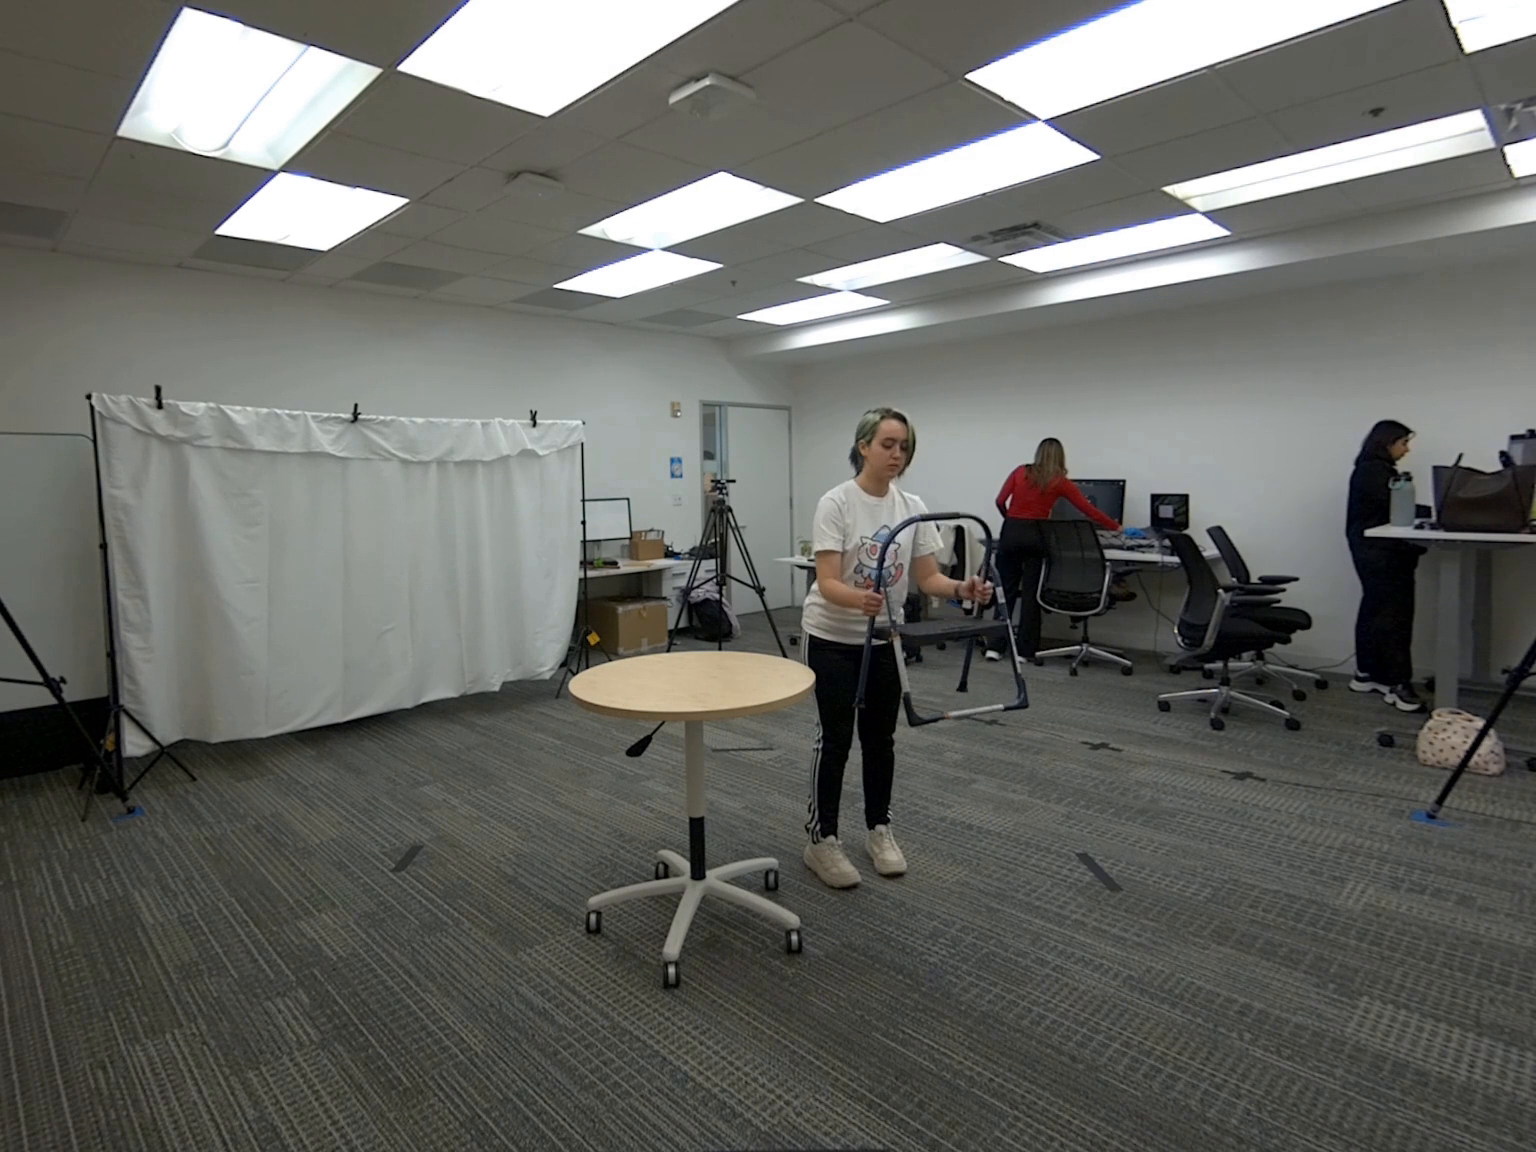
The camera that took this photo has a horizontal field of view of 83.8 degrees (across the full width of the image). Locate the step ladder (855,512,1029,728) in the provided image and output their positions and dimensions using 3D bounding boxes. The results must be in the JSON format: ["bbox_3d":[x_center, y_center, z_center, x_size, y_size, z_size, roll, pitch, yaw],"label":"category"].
[{"bbox_3d":[0.524,0.112,2.655,0.422,0.605,0.356,-3,2,-23],"label":"step ladder"}]
